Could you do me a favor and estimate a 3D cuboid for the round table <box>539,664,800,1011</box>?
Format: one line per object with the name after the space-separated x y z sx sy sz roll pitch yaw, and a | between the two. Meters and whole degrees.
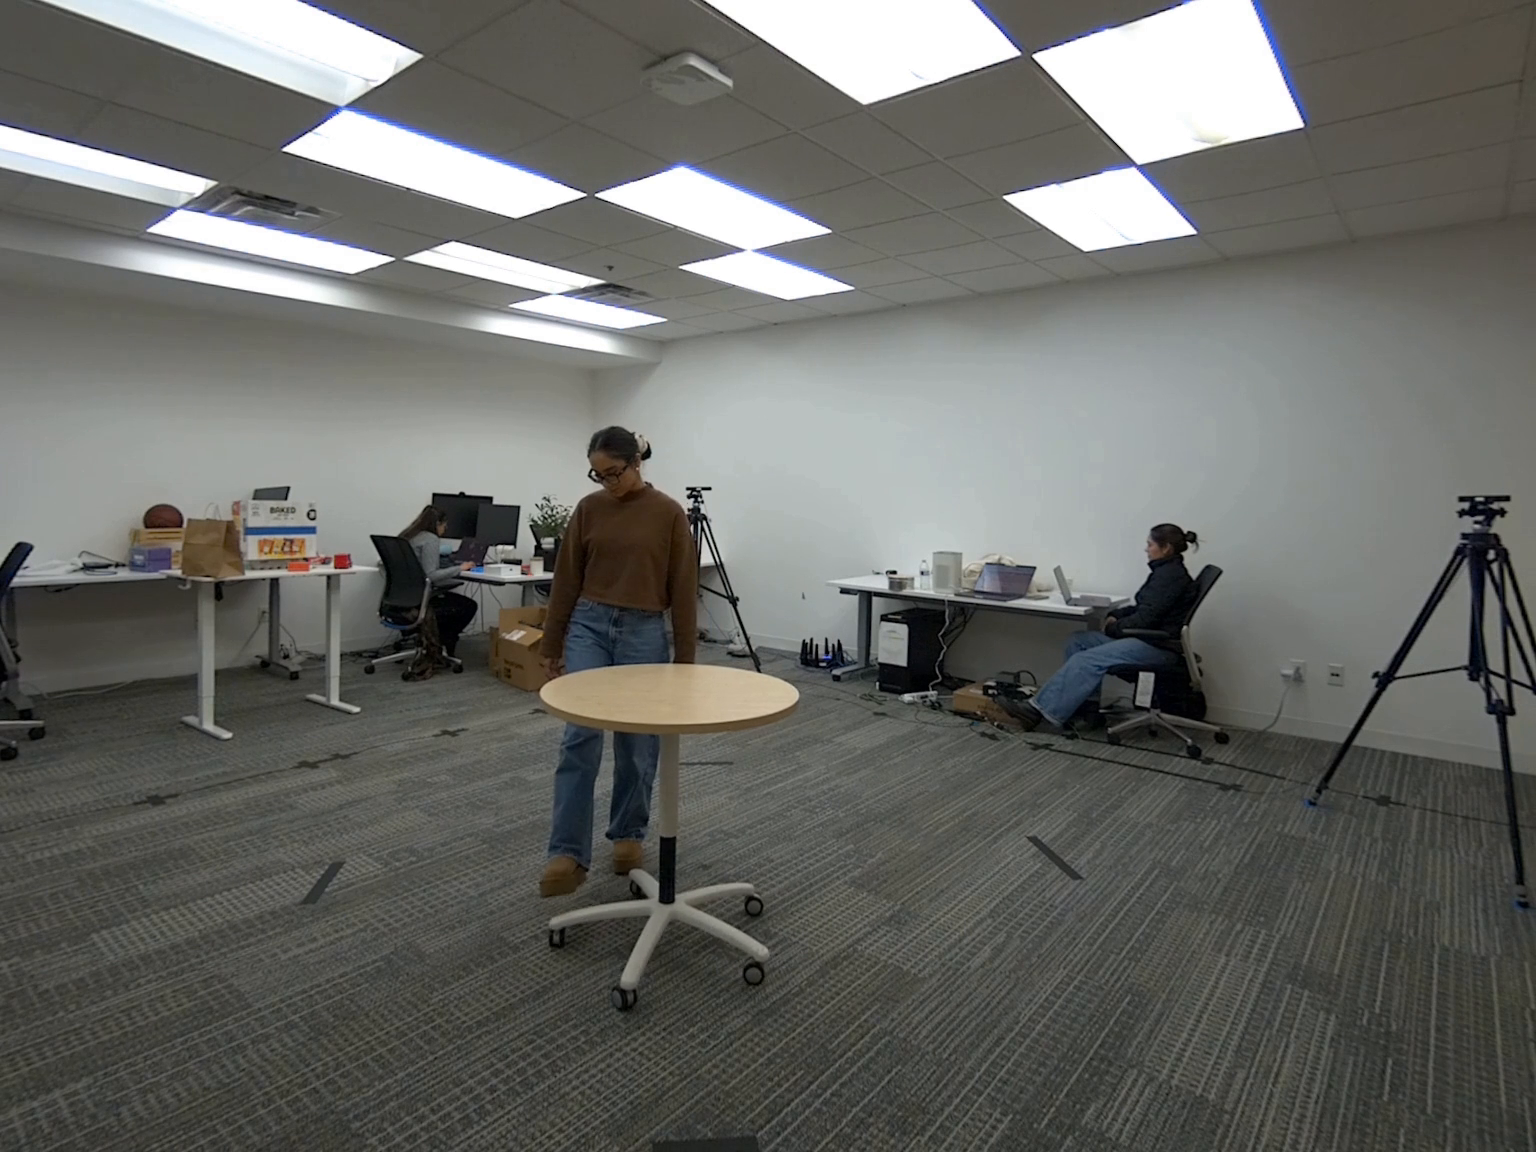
-0.305 0.730 2.560 0.763 0.791 0.768 1 4 -2 | round table
